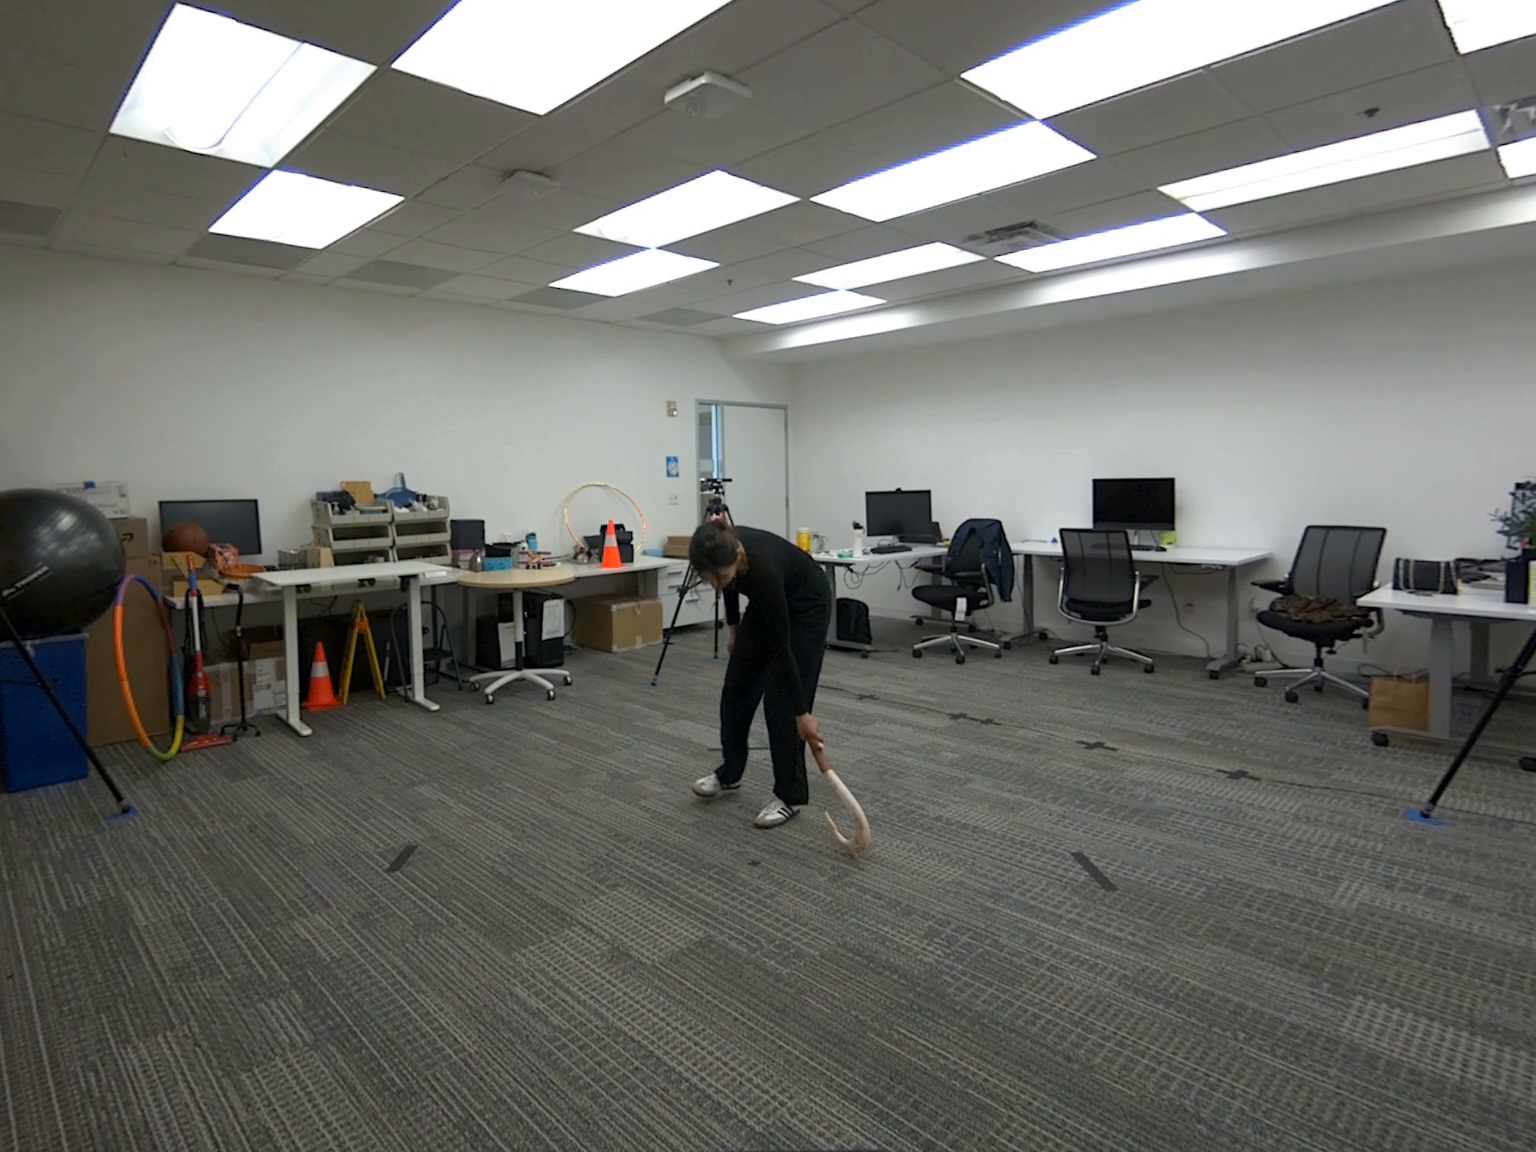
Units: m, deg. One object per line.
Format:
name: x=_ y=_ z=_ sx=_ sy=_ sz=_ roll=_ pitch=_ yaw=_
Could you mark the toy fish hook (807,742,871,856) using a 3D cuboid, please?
toy fish hook: x=0.232 y=0.804 z=3.223 sx=0.047 sy=0.522 sz=0.224 roll=-5 pitch=-34 yaw=-39
